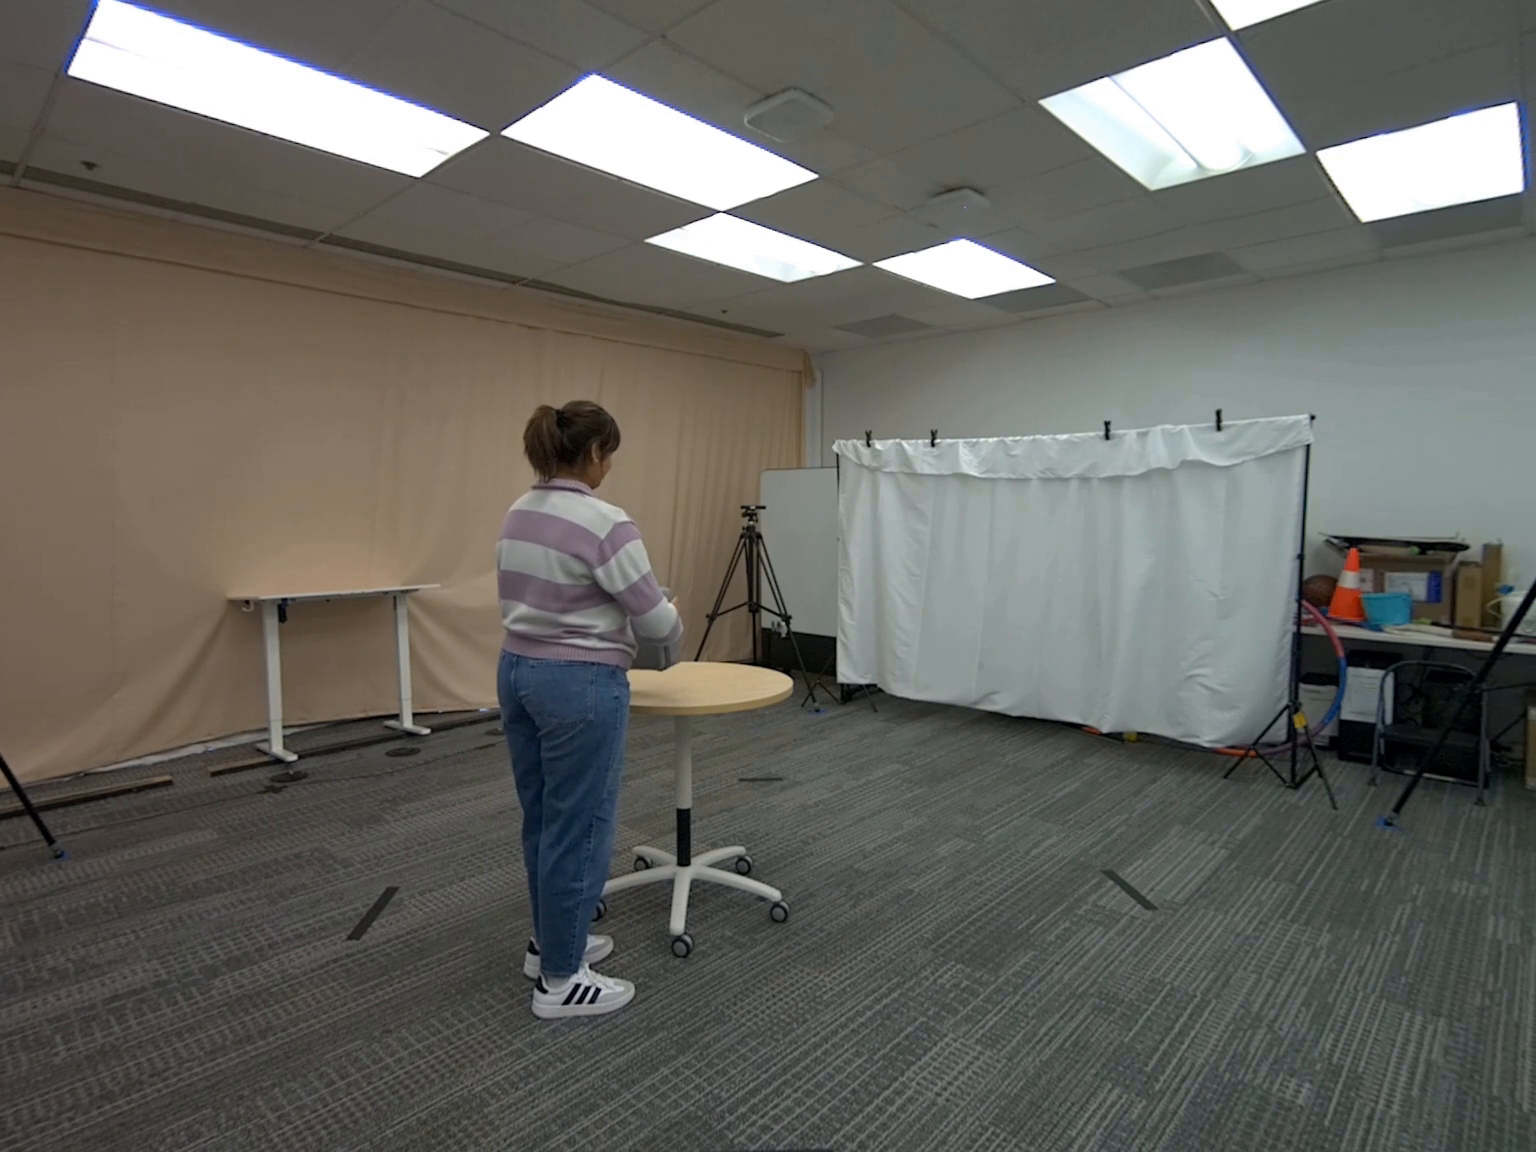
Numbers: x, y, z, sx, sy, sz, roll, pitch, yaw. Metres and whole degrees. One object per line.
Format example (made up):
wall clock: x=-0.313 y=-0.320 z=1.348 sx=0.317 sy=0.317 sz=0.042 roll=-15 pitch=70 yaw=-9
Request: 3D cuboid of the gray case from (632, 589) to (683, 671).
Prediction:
gray case: x=-0.411 y=0.162 z=2.693 sx=0.101 sy=0.261 sz=0.264 roll=-4 pitch=0 yaw=-34
